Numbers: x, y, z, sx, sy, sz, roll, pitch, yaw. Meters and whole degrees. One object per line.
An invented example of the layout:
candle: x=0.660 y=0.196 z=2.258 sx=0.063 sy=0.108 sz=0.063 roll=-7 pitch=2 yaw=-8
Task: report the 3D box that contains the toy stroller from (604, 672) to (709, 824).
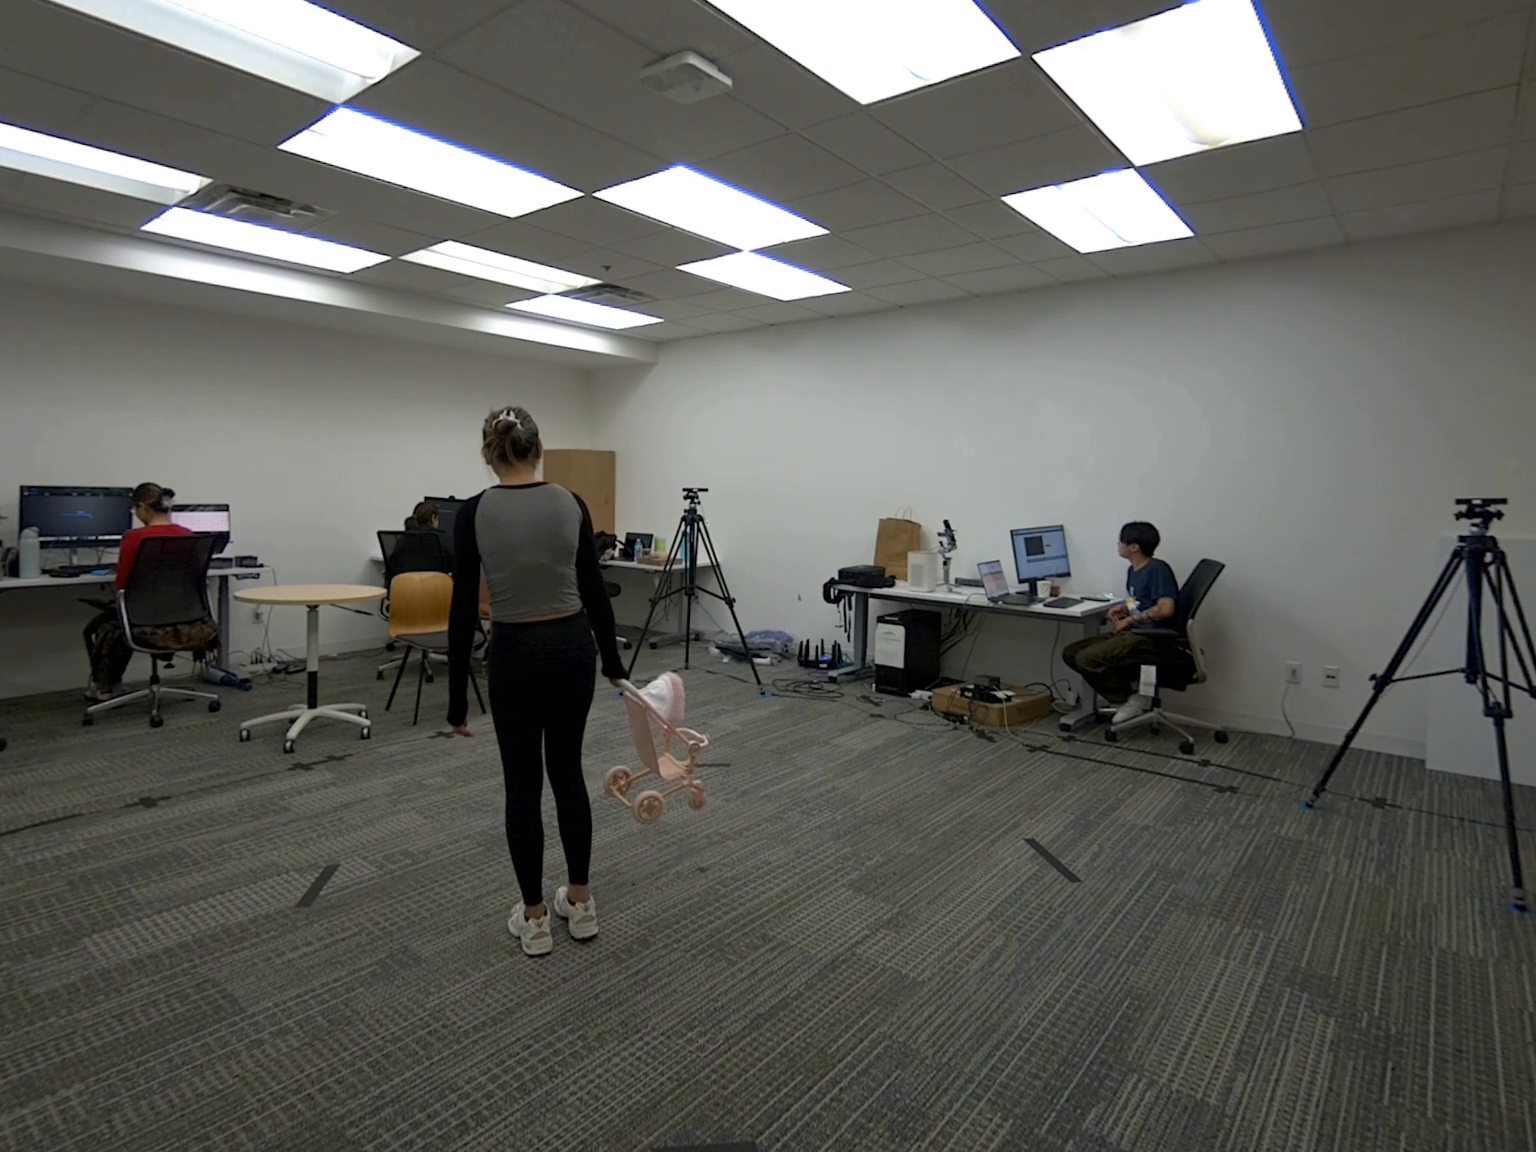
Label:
toy stroller: x=-0.372 y=0.565 z=2.879 sx=0.334 sy=0.532 sz=0.289 roll=-5 pitch=7 yaw=-26
